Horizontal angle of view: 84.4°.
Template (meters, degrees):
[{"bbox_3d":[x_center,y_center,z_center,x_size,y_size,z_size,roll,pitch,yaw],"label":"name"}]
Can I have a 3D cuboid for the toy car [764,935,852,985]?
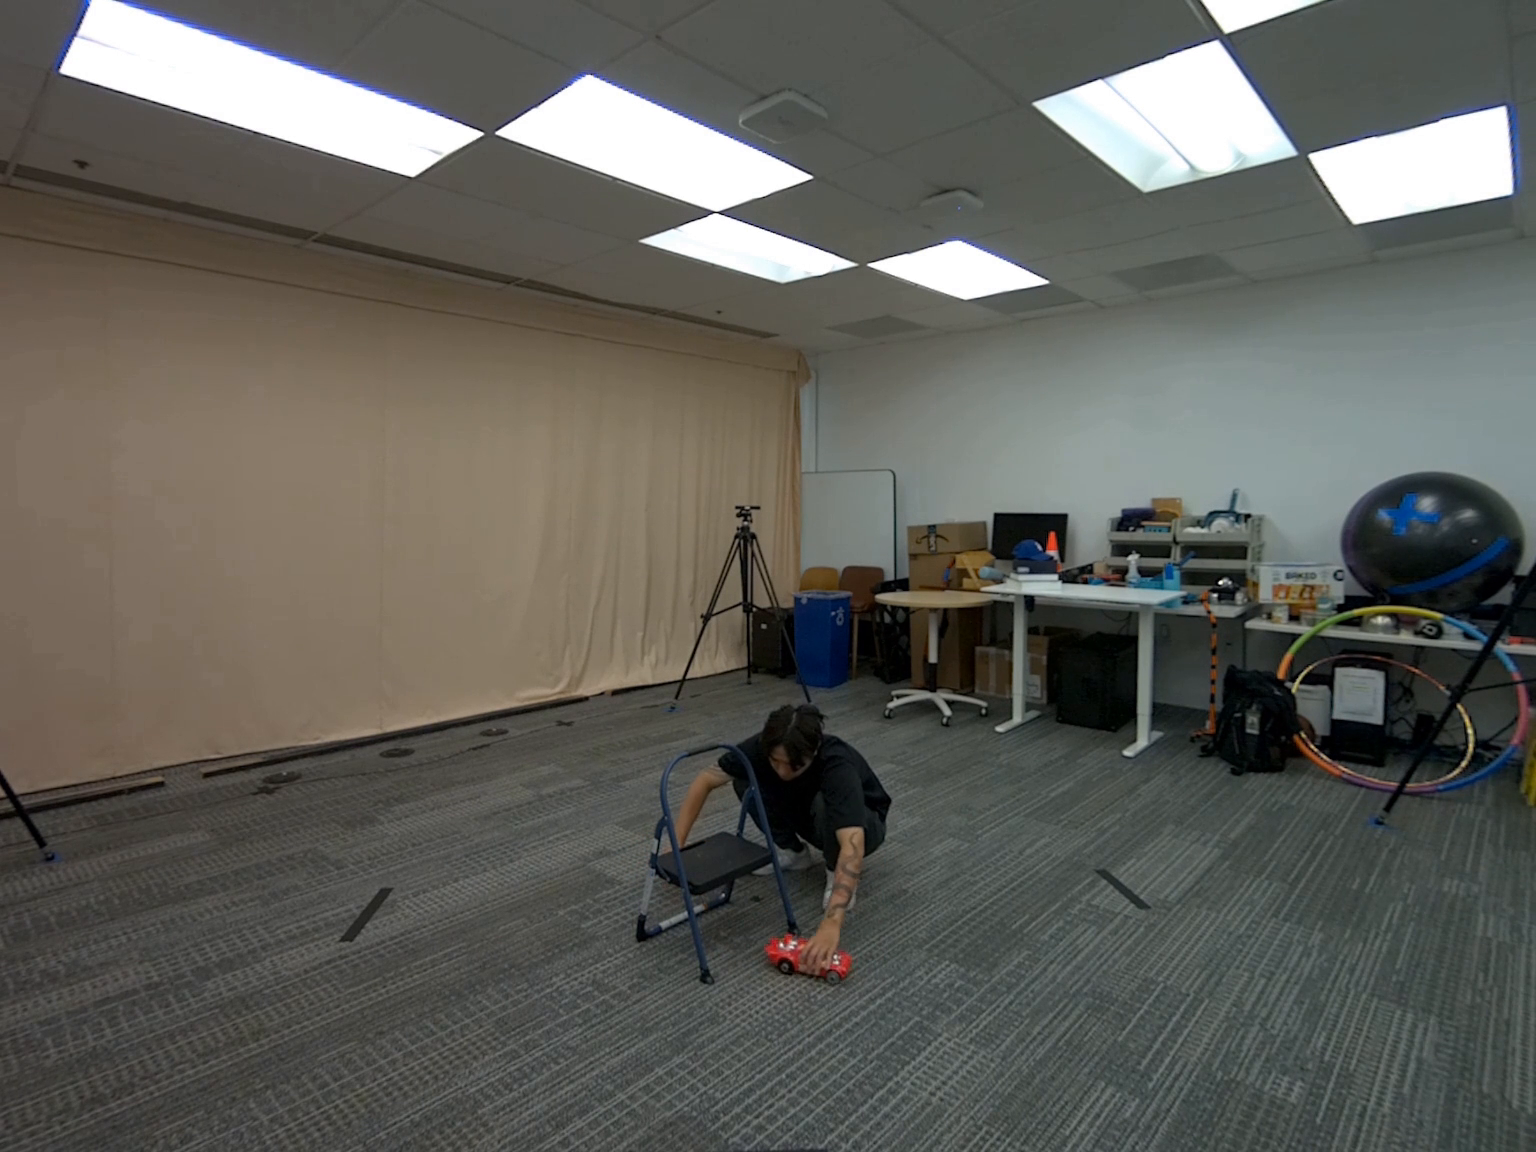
[{"bbox_3d":[0.118,1.153,2.533,0.261,0.083,0.127,15,7,22],"label":"toy car"}]
